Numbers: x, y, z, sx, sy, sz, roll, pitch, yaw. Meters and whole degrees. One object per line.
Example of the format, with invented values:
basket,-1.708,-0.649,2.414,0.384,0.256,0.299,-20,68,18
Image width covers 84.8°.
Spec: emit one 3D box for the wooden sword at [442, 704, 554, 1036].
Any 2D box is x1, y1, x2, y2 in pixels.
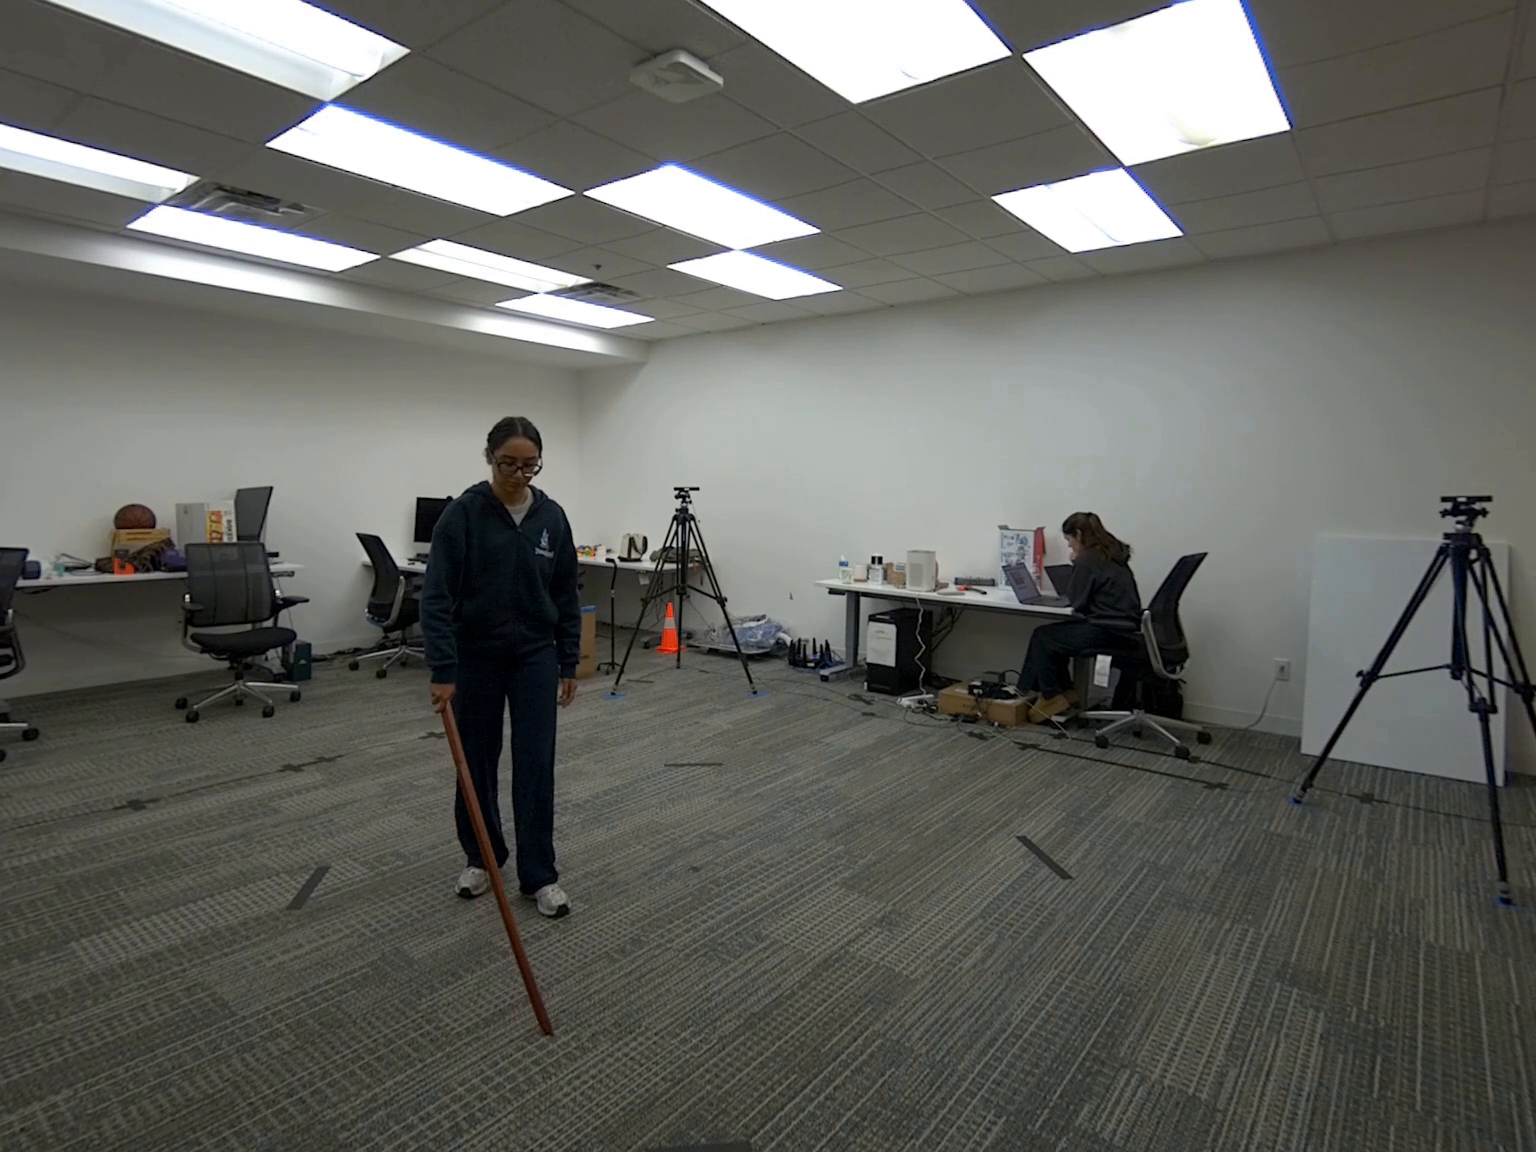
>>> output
wooden sword,-0.809,0.749,2.400,0.051,1.059,0.023,-39,-28,15
